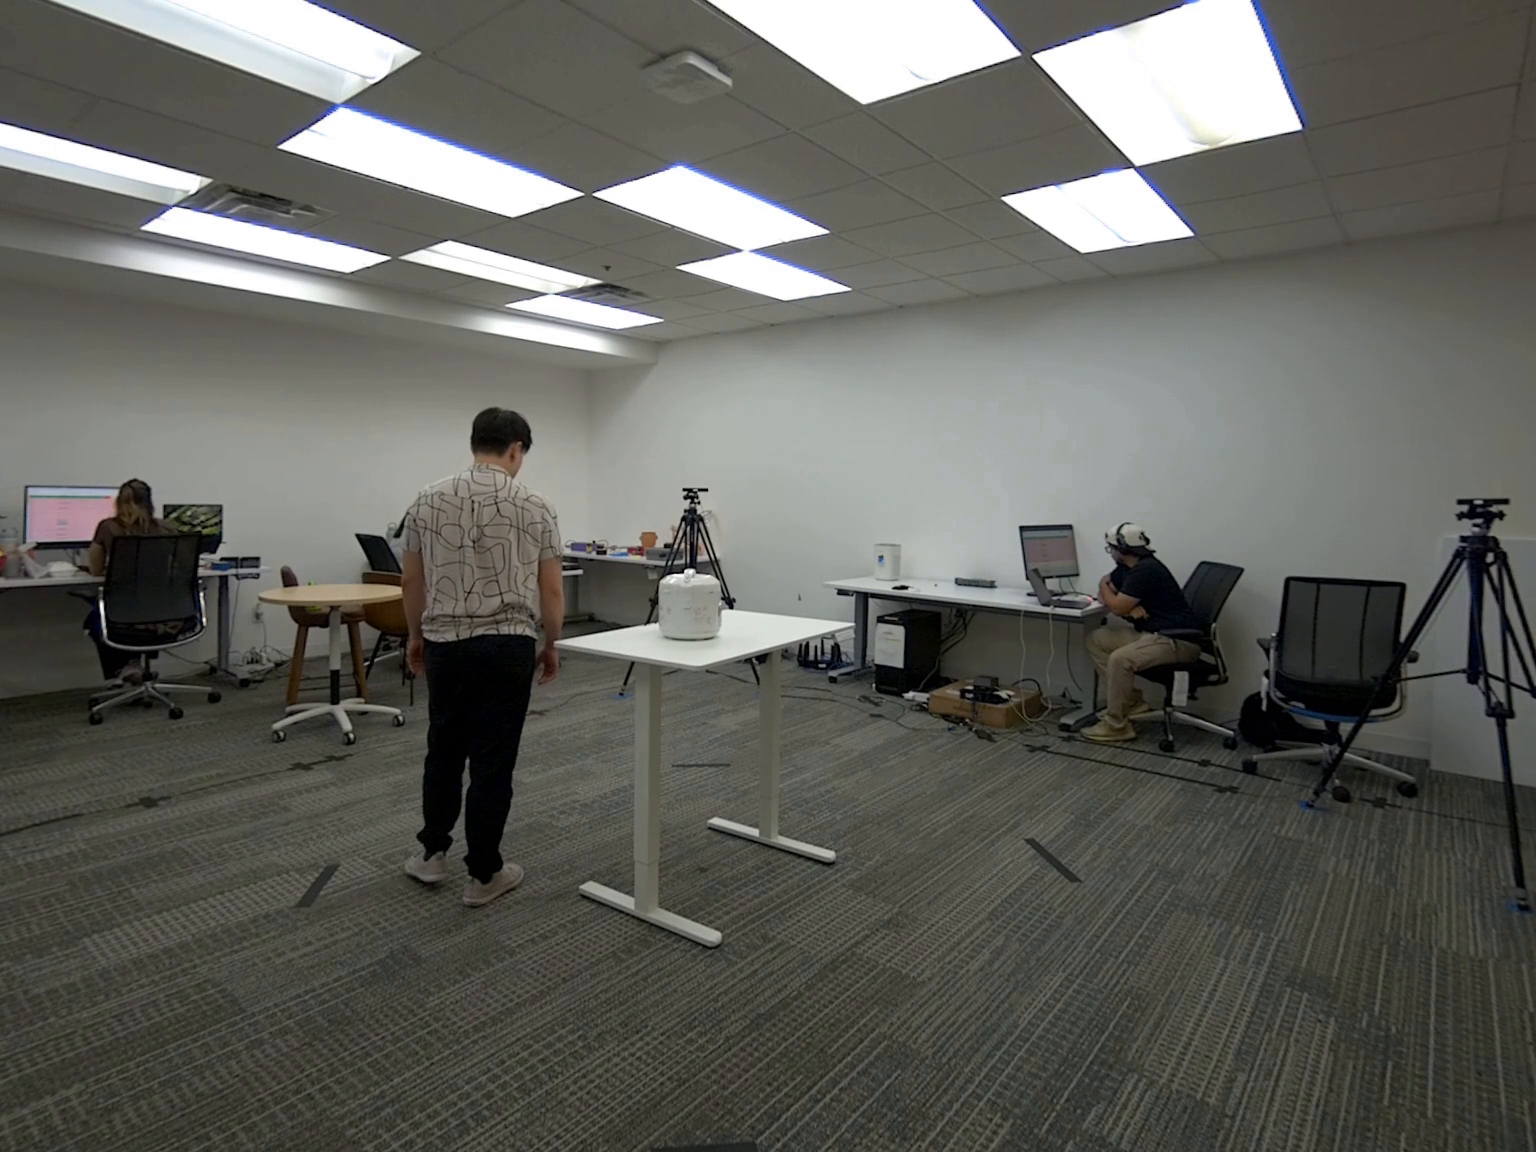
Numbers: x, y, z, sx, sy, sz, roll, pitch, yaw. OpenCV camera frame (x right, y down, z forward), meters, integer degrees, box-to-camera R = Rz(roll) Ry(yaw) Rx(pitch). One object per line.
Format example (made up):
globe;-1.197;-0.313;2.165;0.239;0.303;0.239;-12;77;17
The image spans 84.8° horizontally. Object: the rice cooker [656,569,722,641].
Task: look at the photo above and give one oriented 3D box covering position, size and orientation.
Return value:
rice cooker;-0.278;0.092;2.909;0.219;0.232;0.220;0;5;4
